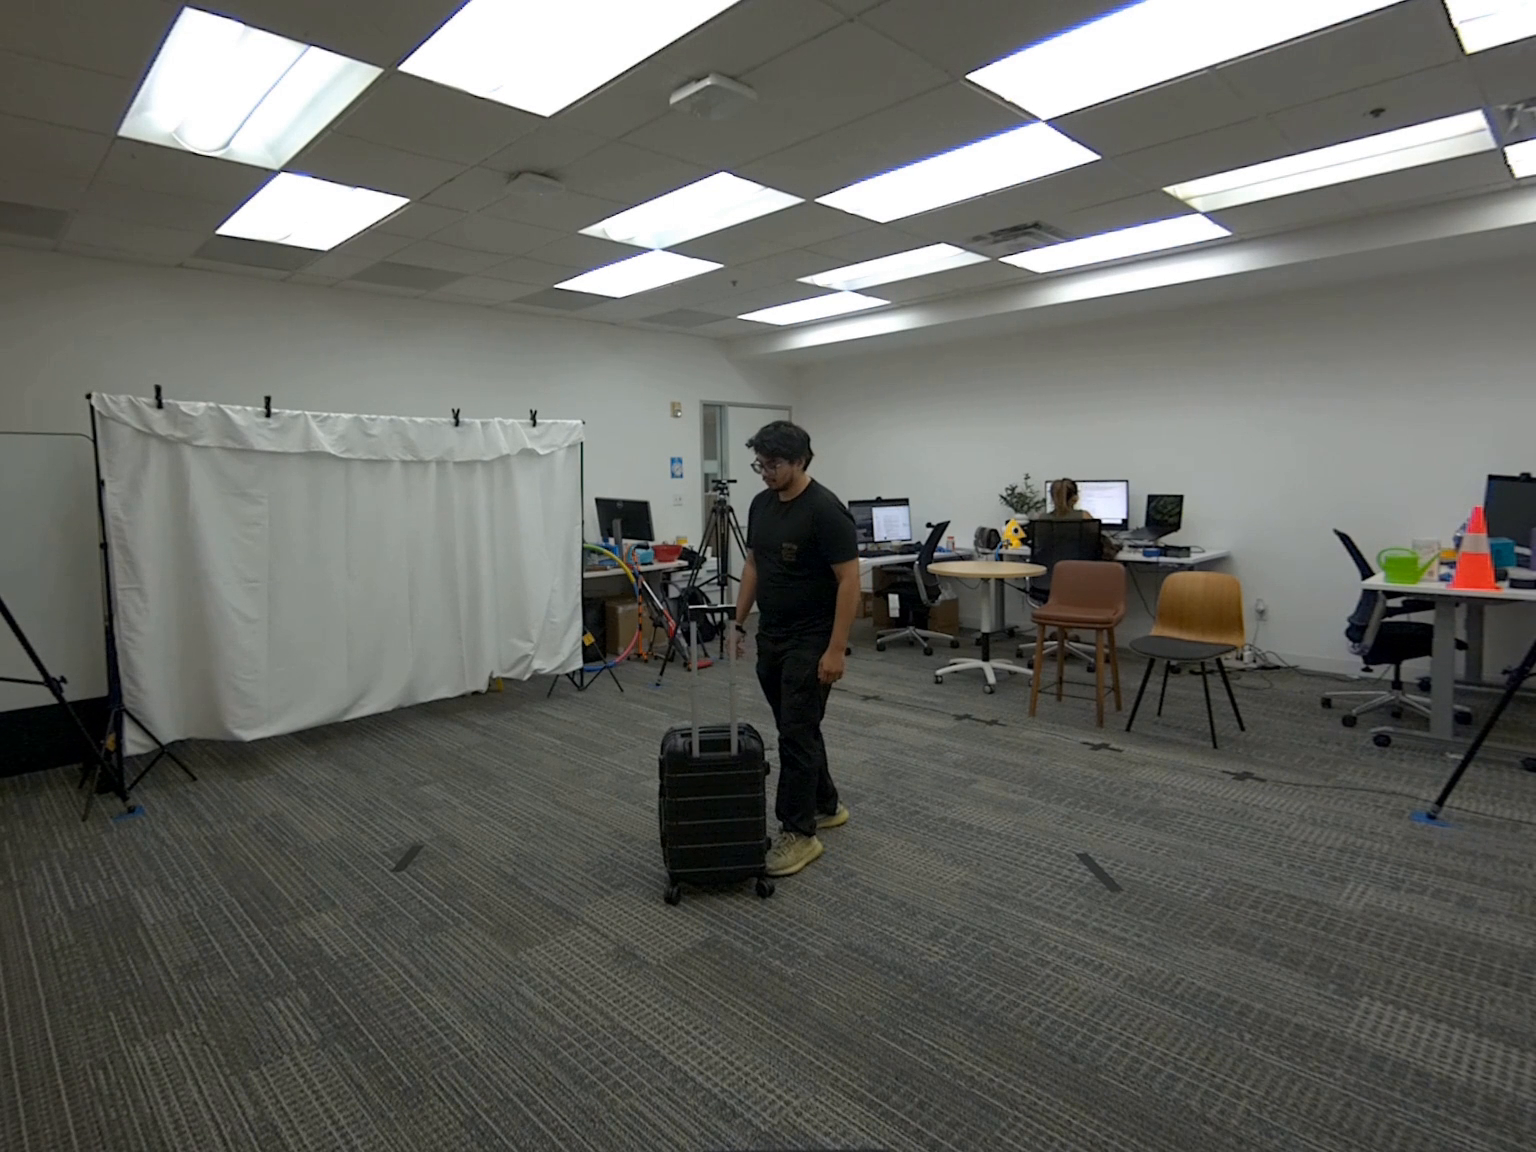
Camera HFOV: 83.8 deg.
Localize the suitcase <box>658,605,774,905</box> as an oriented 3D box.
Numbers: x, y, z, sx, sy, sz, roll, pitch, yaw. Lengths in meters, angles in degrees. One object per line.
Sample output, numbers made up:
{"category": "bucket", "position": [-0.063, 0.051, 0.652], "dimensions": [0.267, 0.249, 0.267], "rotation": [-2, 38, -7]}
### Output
{"category": "suitcase", "position": [-0.192, 0.587, 2.954], "dimensions": [0.382, 0.977, 0.259], "rotation": [-2, 1, -5]}
